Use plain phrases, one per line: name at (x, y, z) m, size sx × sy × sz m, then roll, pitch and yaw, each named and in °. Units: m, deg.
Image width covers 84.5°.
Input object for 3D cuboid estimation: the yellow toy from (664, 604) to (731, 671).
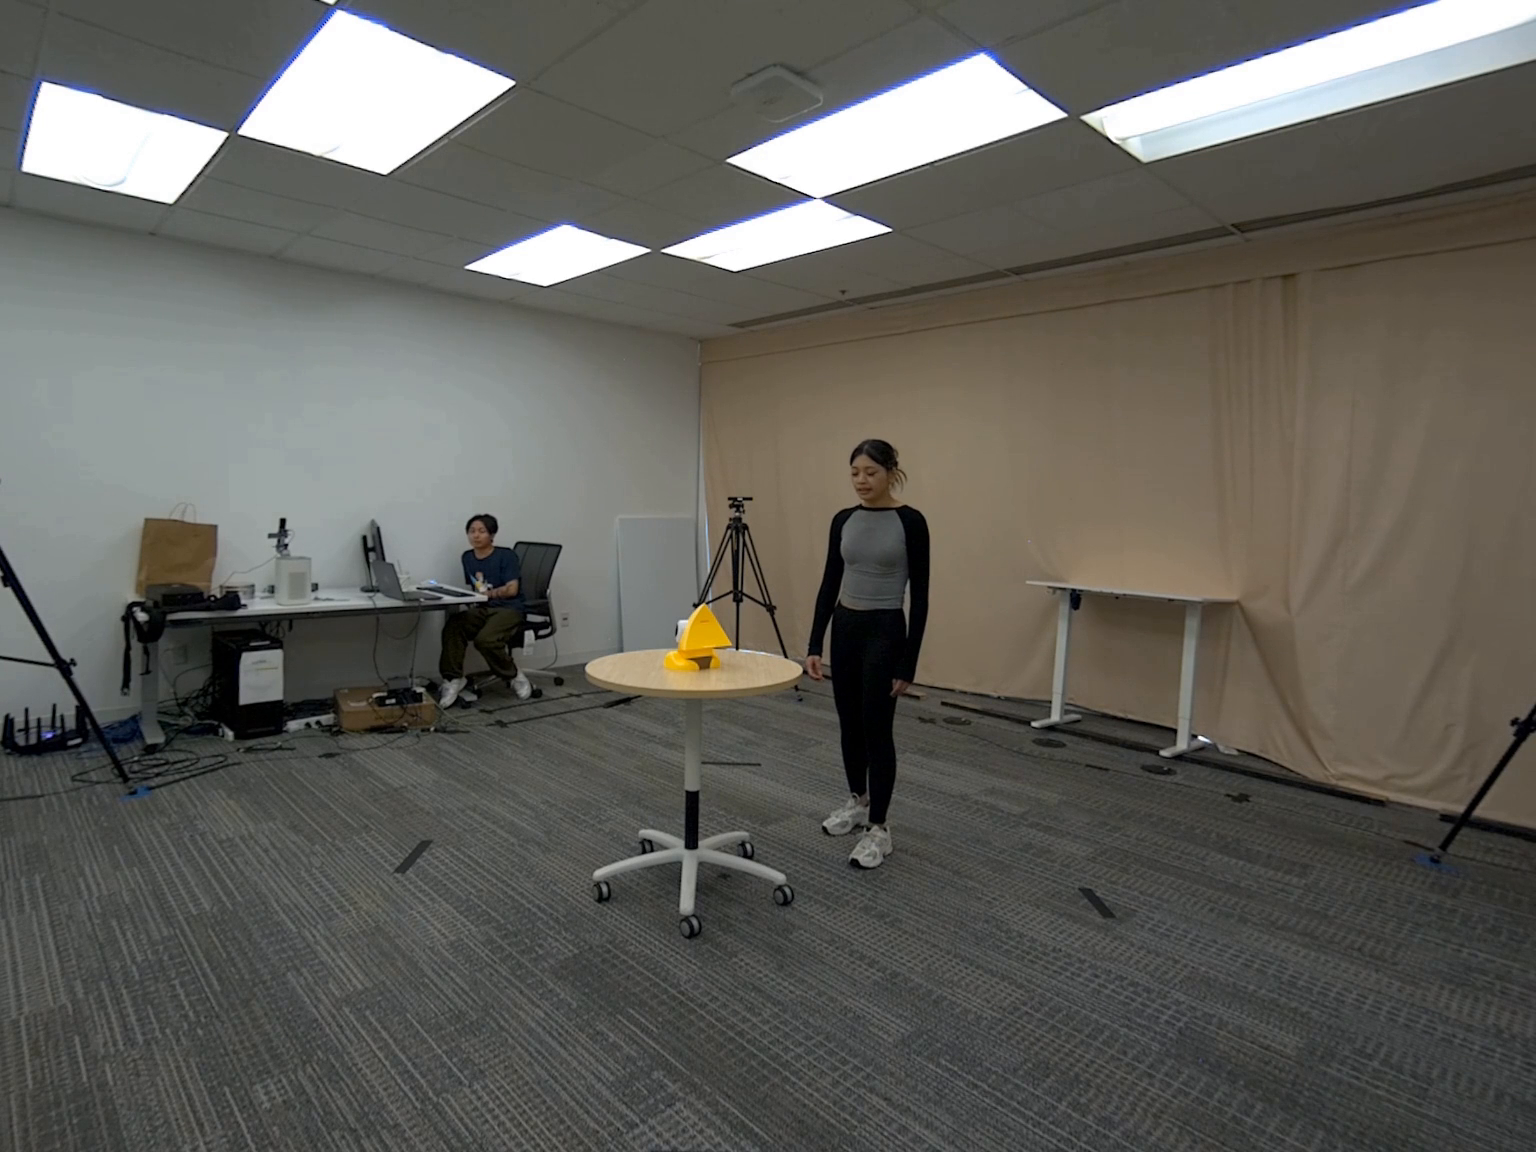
yellow toy at (-0.272, 0.208, 2.990) m, size 0.200 × 0.230 × 0.198 m, roll -2°, pitch 4°, yaw -40°
